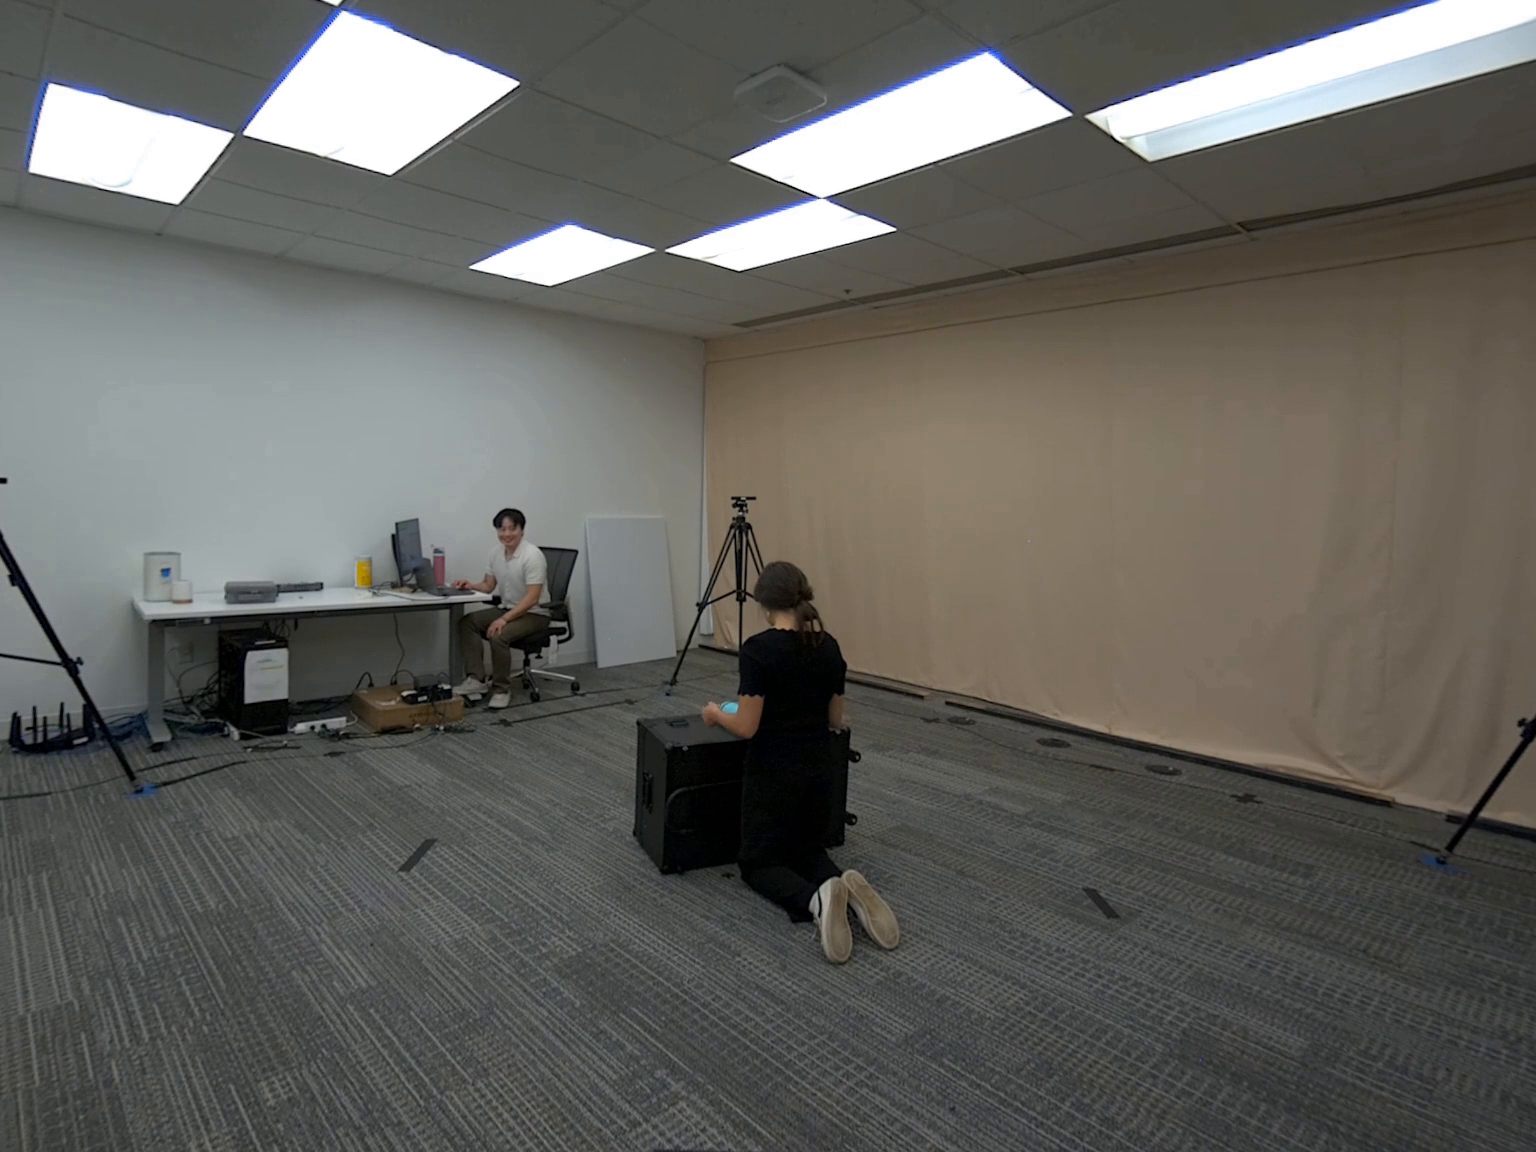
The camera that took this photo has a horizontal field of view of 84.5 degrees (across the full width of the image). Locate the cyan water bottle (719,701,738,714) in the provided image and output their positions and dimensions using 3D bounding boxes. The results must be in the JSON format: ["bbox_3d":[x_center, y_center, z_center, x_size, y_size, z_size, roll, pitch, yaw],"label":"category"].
[{"bbox_3d":[-0.120,0.560,3.297,0.090,0.092,0.290,-1,7,-33],"label":"cyan water bottle"}]
